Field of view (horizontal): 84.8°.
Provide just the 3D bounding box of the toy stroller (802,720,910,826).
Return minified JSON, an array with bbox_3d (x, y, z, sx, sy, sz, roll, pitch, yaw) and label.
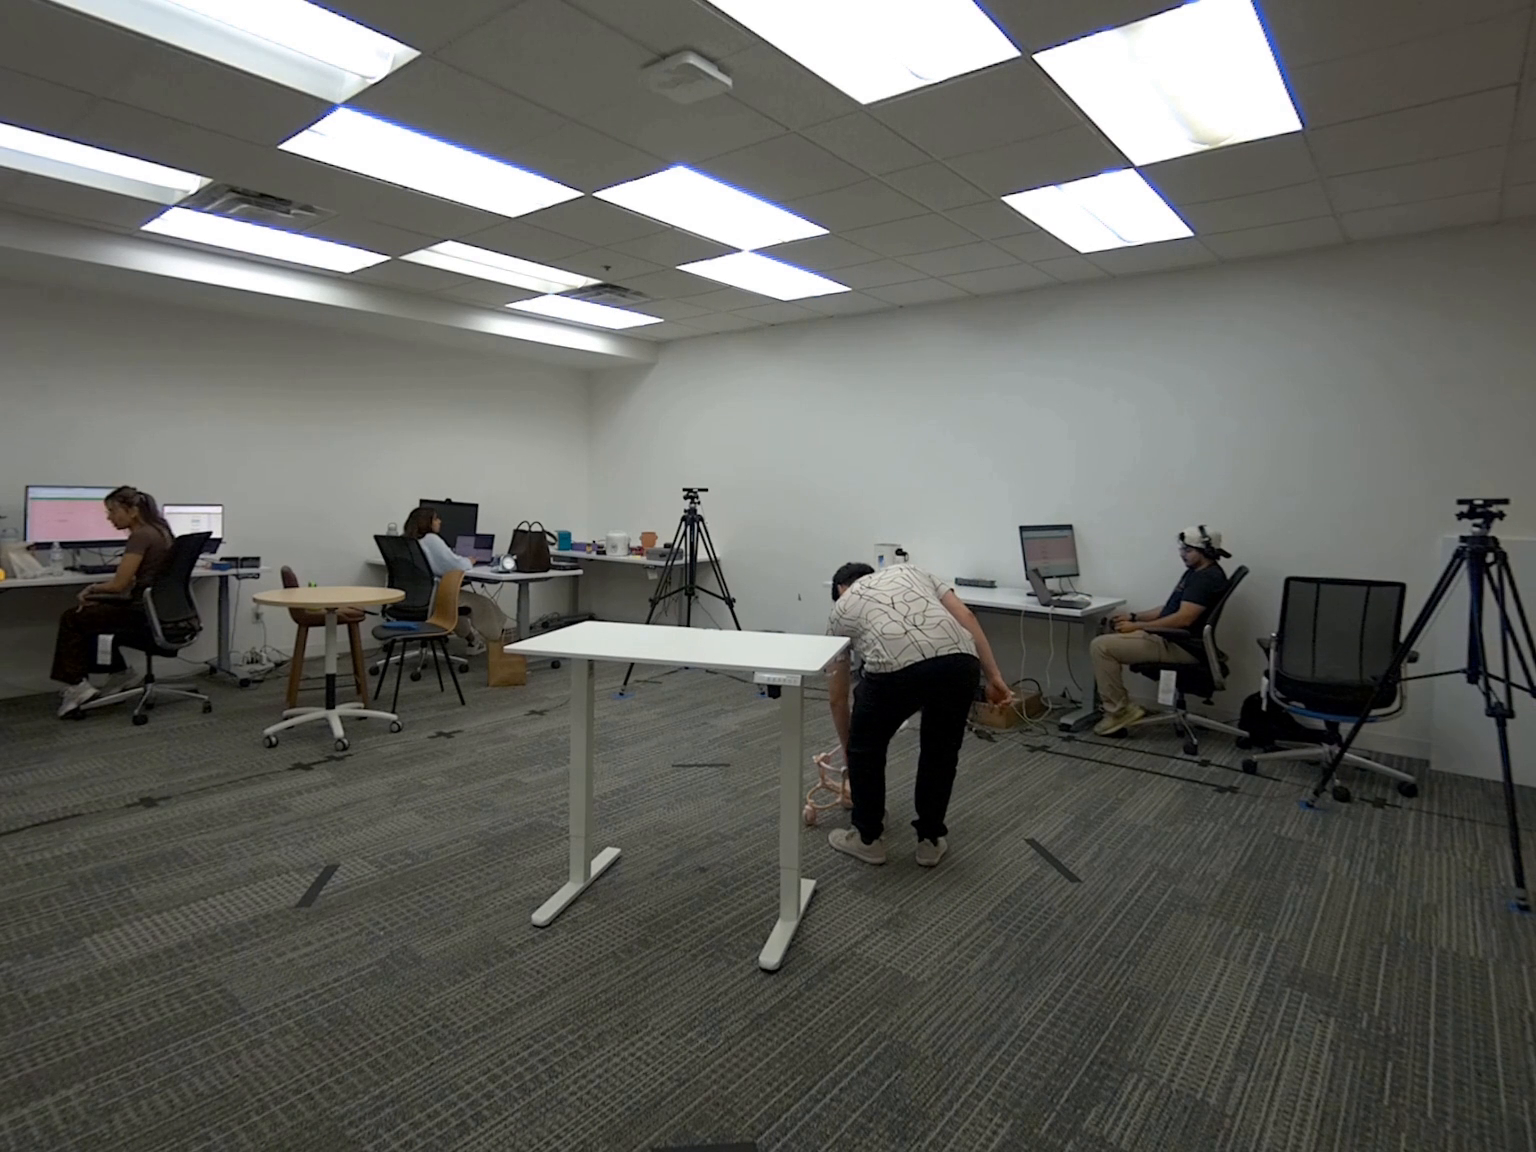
[{"bbox_3d":[0.342,0.804,3.604,0.334,0.535,0.287,16,-2,-17],"label":"toy stroller"}]
